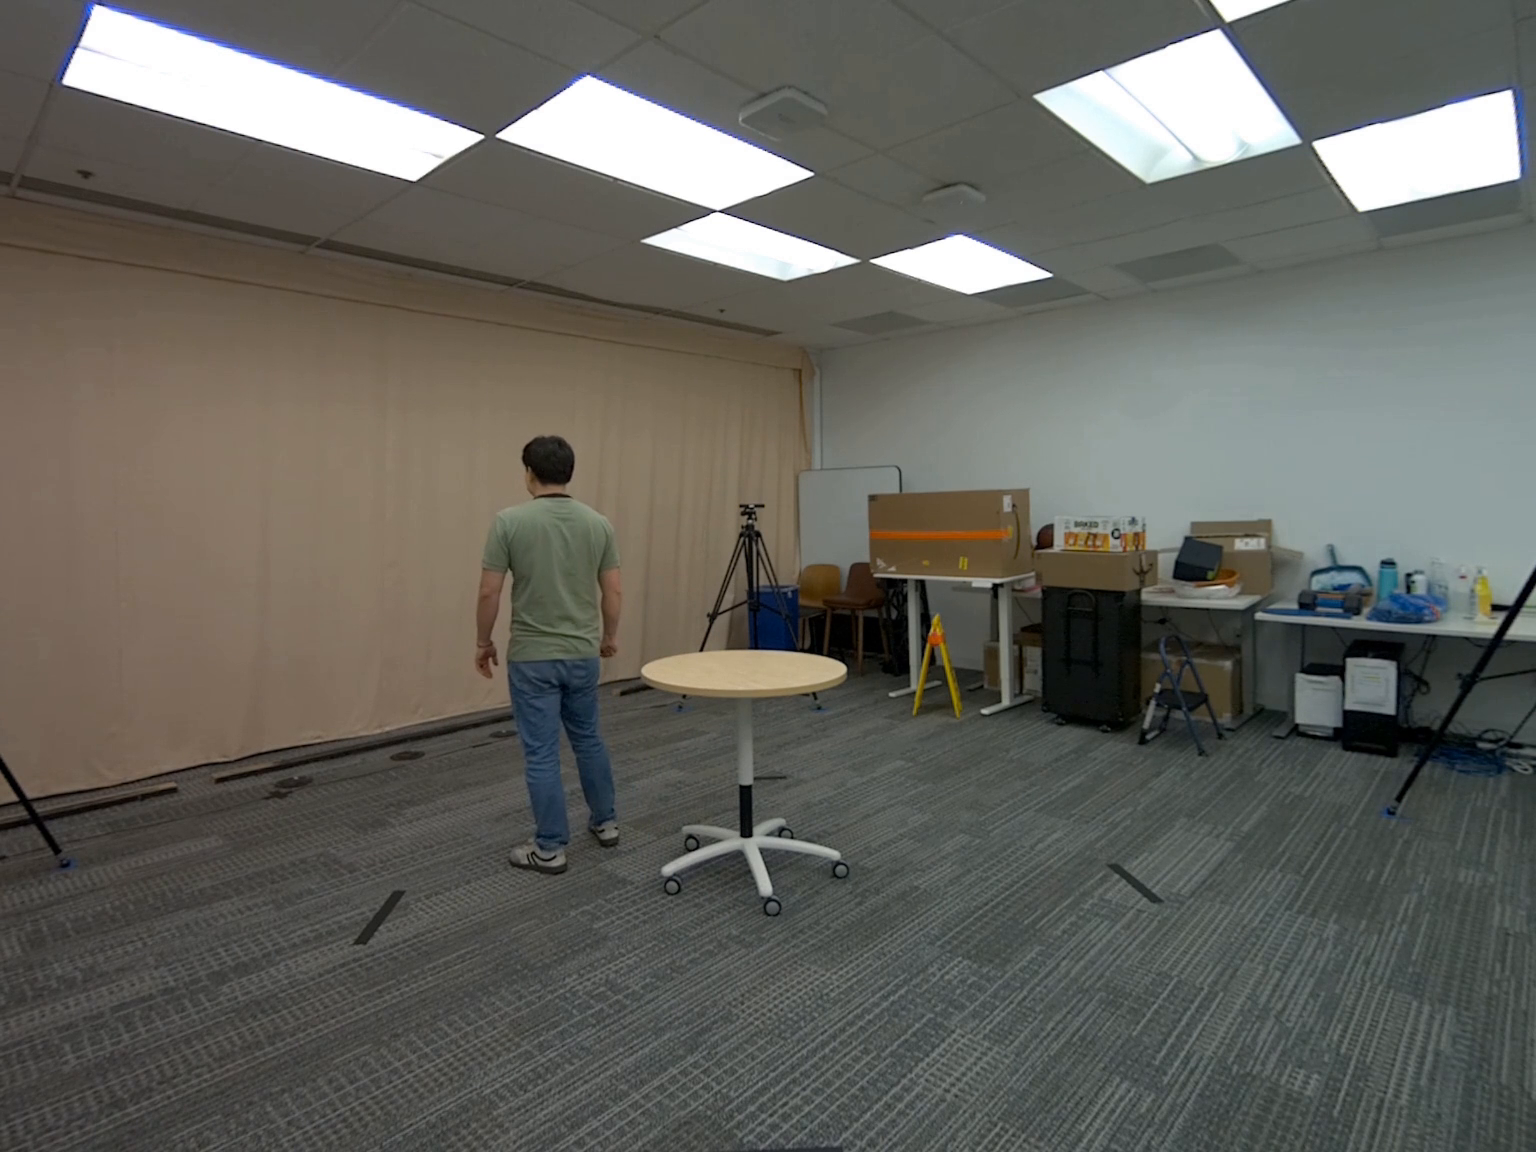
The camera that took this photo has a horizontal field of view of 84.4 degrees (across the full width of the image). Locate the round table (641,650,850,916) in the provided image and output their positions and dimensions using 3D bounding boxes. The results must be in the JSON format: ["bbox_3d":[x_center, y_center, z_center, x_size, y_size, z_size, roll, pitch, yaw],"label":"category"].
[{"bbox_3d":[-0.081,0.737,3.170,0.763,0.792,0.767,-1,4,-2],"label":"round table"}]
